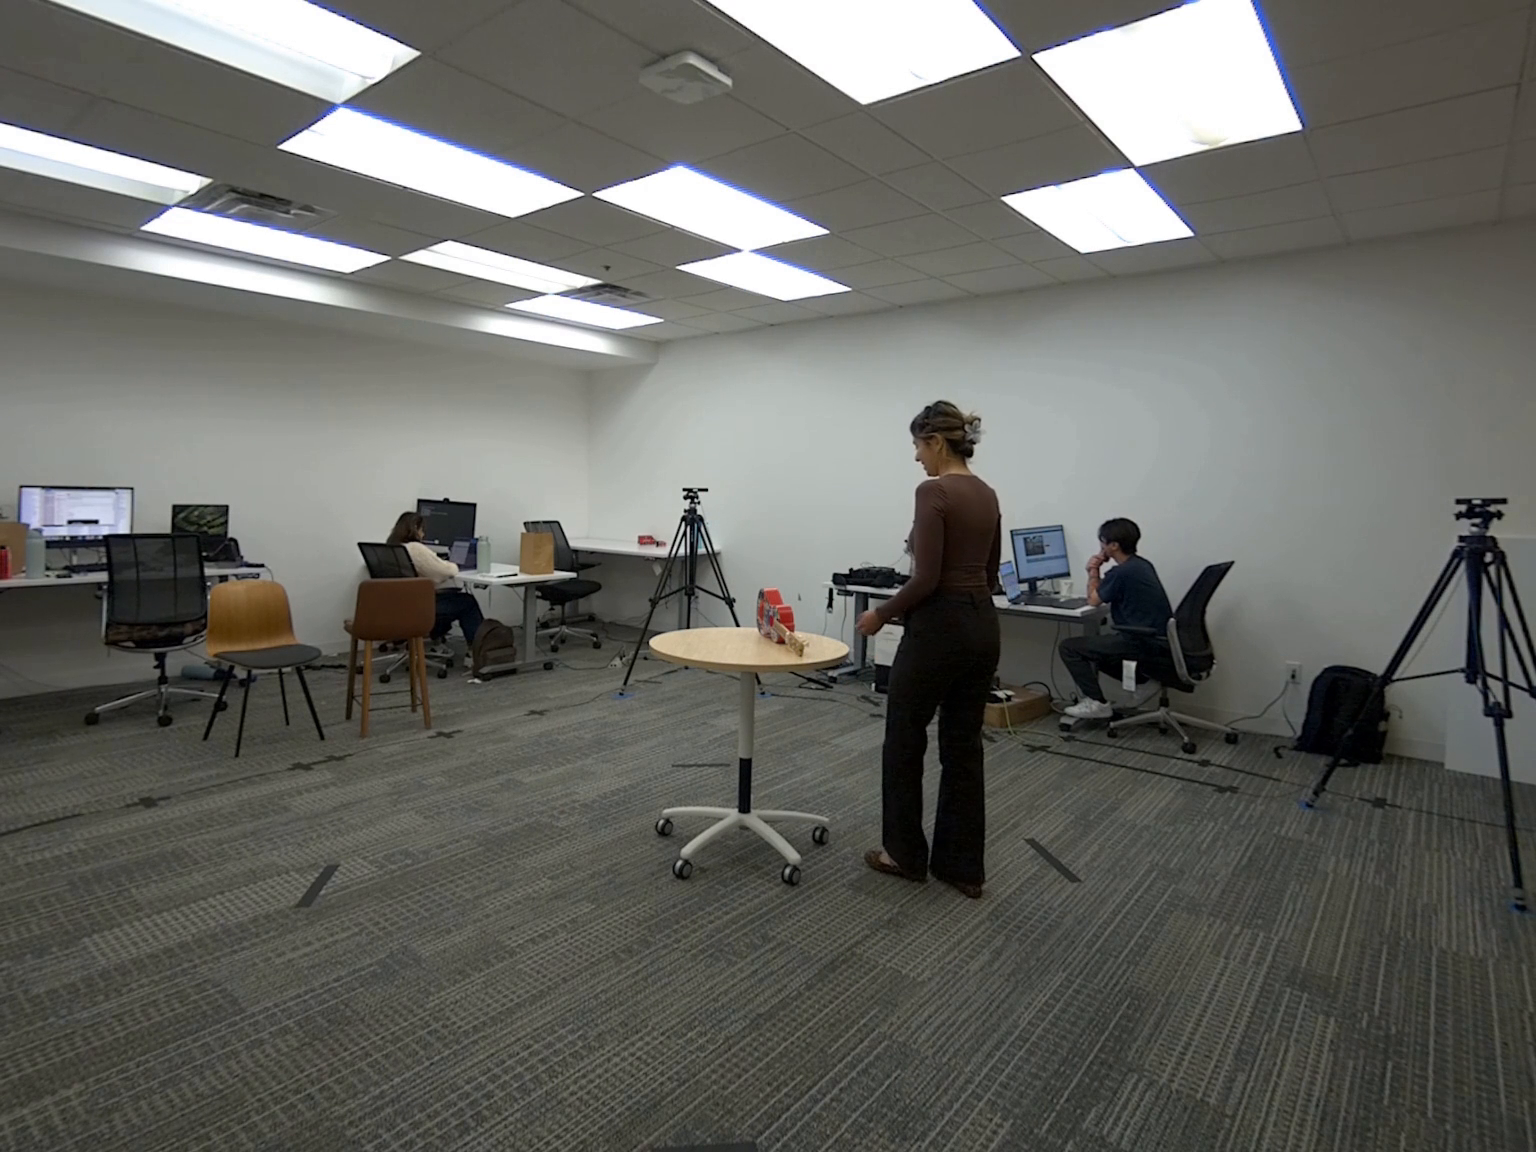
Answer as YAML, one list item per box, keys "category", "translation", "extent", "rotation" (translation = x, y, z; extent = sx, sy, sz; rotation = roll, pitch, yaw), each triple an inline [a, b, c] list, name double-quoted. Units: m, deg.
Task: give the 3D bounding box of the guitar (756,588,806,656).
- category: "guitar"
  translation: [0.053, 0.218, 3.293]
  extent: [0.069, 0.190, 0.516]
  rotation: [-1, 24, -20]
